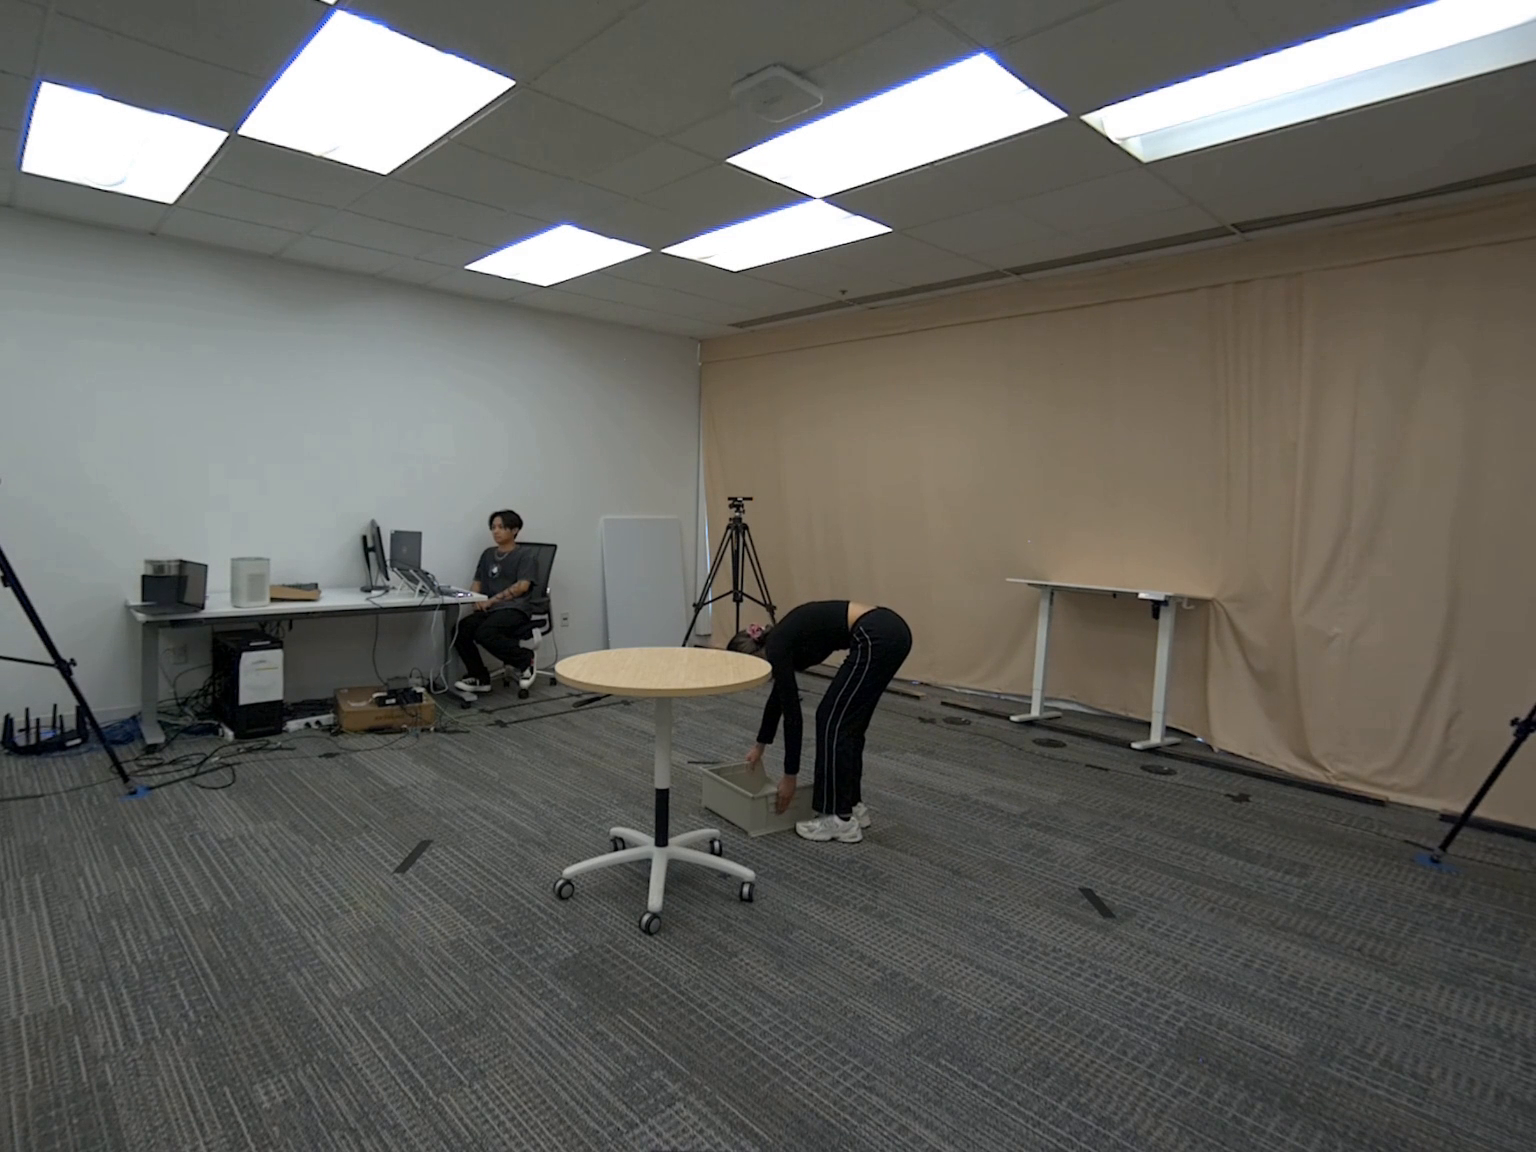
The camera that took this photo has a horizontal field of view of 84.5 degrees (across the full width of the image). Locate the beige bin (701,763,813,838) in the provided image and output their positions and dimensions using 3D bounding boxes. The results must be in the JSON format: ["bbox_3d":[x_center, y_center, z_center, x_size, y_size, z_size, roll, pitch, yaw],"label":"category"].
[{"bbox_3d":[-0.048,0.963,3.738,0.369,0.188,0.433,-3,7,-35],"label":"beige bin"}]
